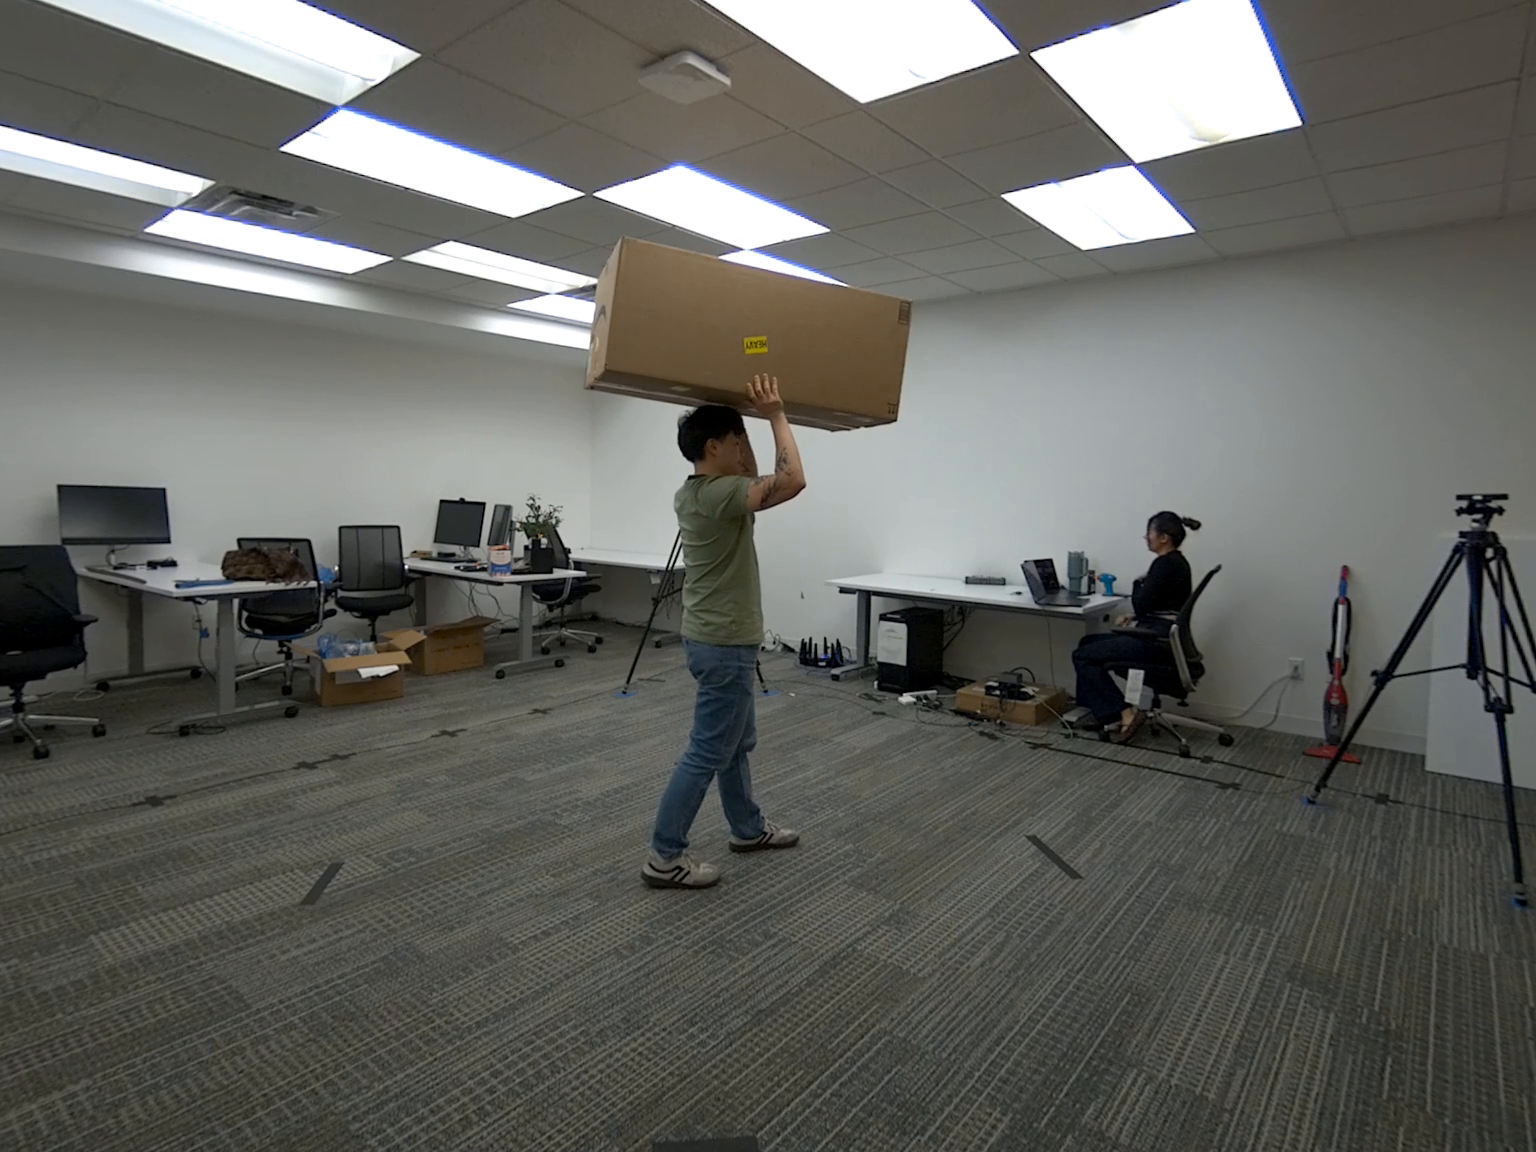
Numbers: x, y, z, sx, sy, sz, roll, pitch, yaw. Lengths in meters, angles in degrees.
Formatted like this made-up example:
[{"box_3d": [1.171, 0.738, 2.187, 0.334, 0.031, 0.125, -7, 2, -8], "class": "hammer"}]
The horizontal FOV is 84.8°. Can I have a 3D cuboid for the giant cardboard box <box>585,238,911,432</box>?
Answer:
[{"box_3d": [-0.104, -0.825, 3.058, 1.006, 0.426, 0.589, 7, 2, -17], "class": "giant cardboard box"}]
